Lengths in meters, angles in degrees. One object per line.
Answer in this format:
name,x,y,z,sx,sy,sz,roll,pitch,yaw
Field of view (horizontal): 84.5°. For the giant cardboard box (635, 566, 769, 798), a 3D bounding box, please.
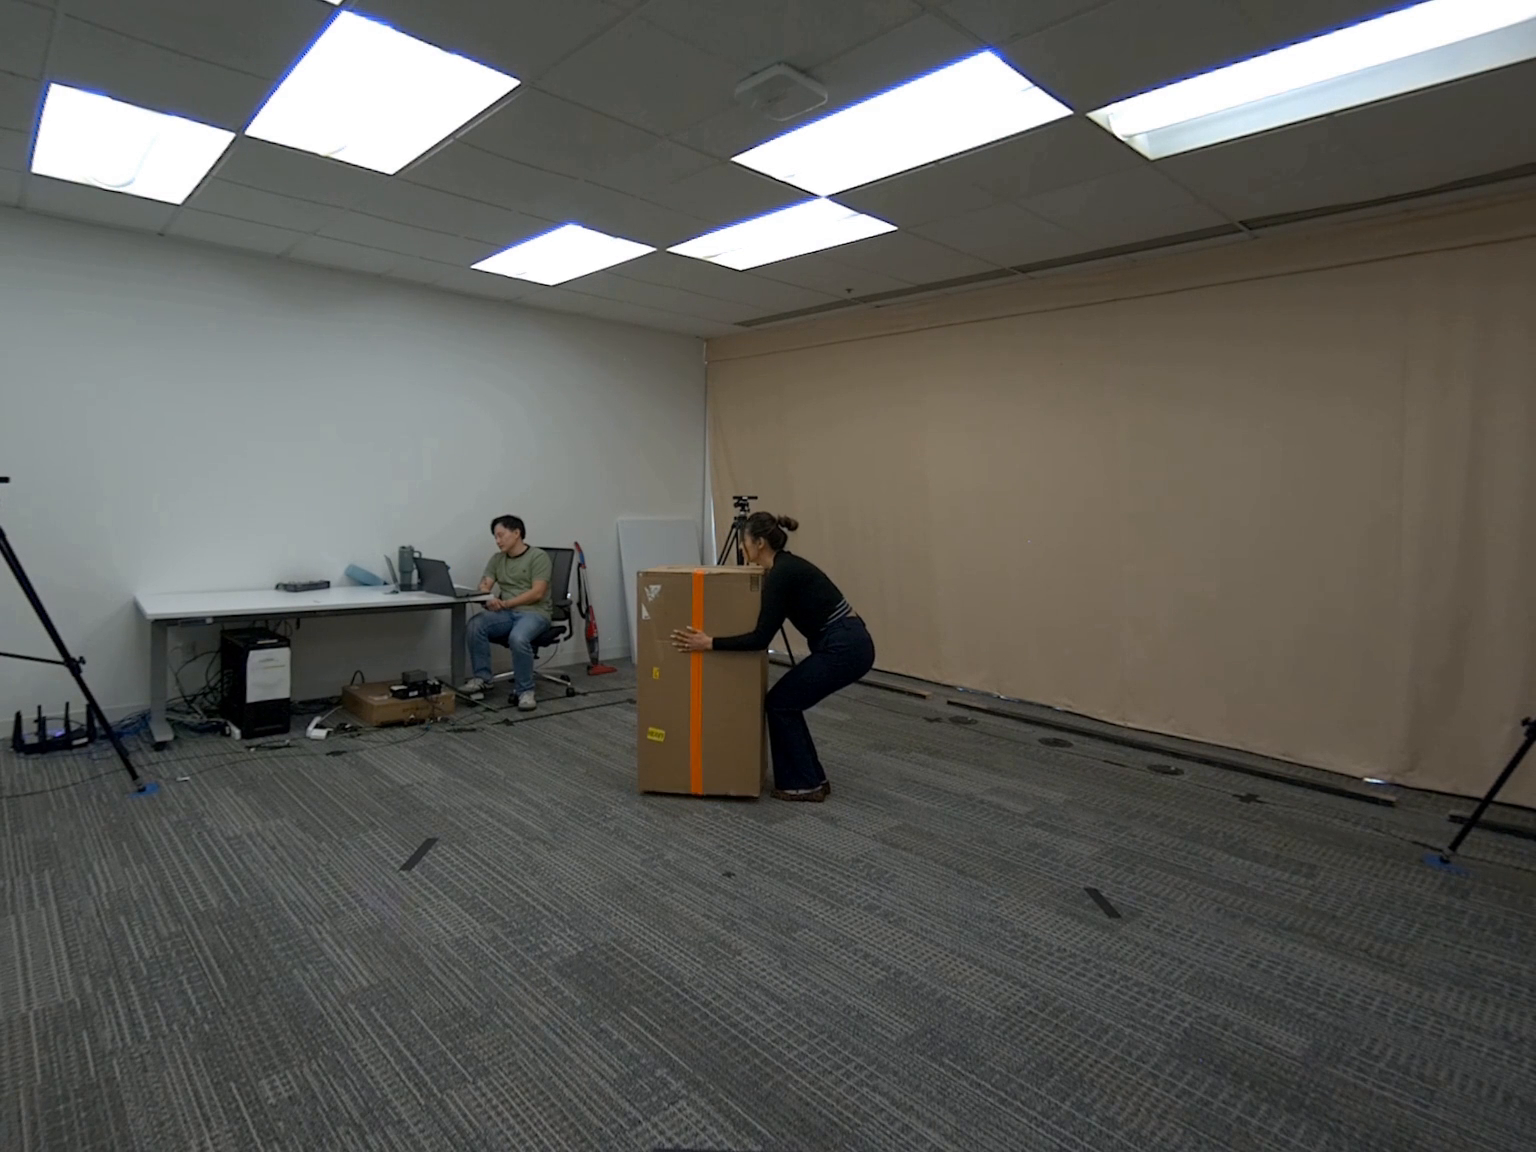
giant cardboard box,-0.308,0.472,4.046,0.581,1.024,0.424,1,3,7
